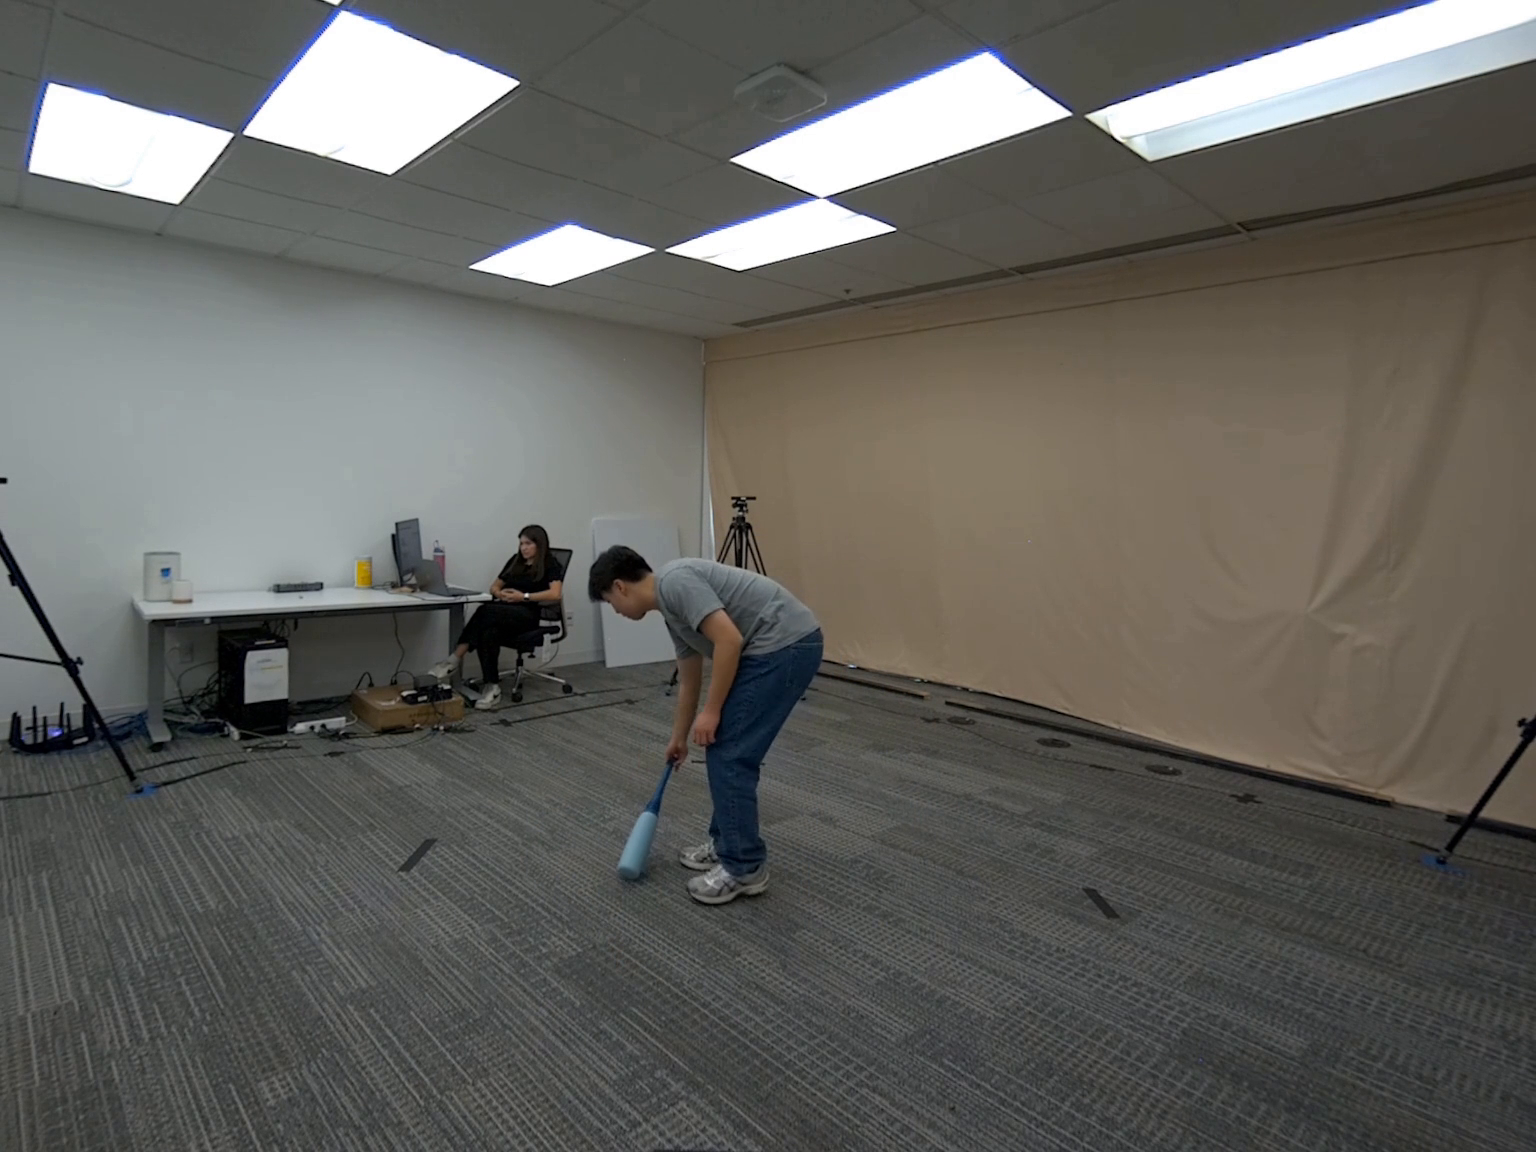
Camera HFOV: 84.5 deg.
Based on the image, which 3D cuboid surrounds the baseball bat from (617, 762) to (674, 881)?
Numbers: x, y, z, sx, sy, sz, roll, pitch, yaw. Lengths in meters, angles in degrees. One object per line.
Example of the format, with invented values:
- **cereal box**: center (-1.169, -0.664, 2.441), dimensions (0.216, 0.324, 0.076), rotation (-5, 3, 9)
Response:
- **baseball bat**: center (-0.444, 0.915, 3.212), dimensions (0.090, 0.087, 0.549), rotation (2, 38, 15)
